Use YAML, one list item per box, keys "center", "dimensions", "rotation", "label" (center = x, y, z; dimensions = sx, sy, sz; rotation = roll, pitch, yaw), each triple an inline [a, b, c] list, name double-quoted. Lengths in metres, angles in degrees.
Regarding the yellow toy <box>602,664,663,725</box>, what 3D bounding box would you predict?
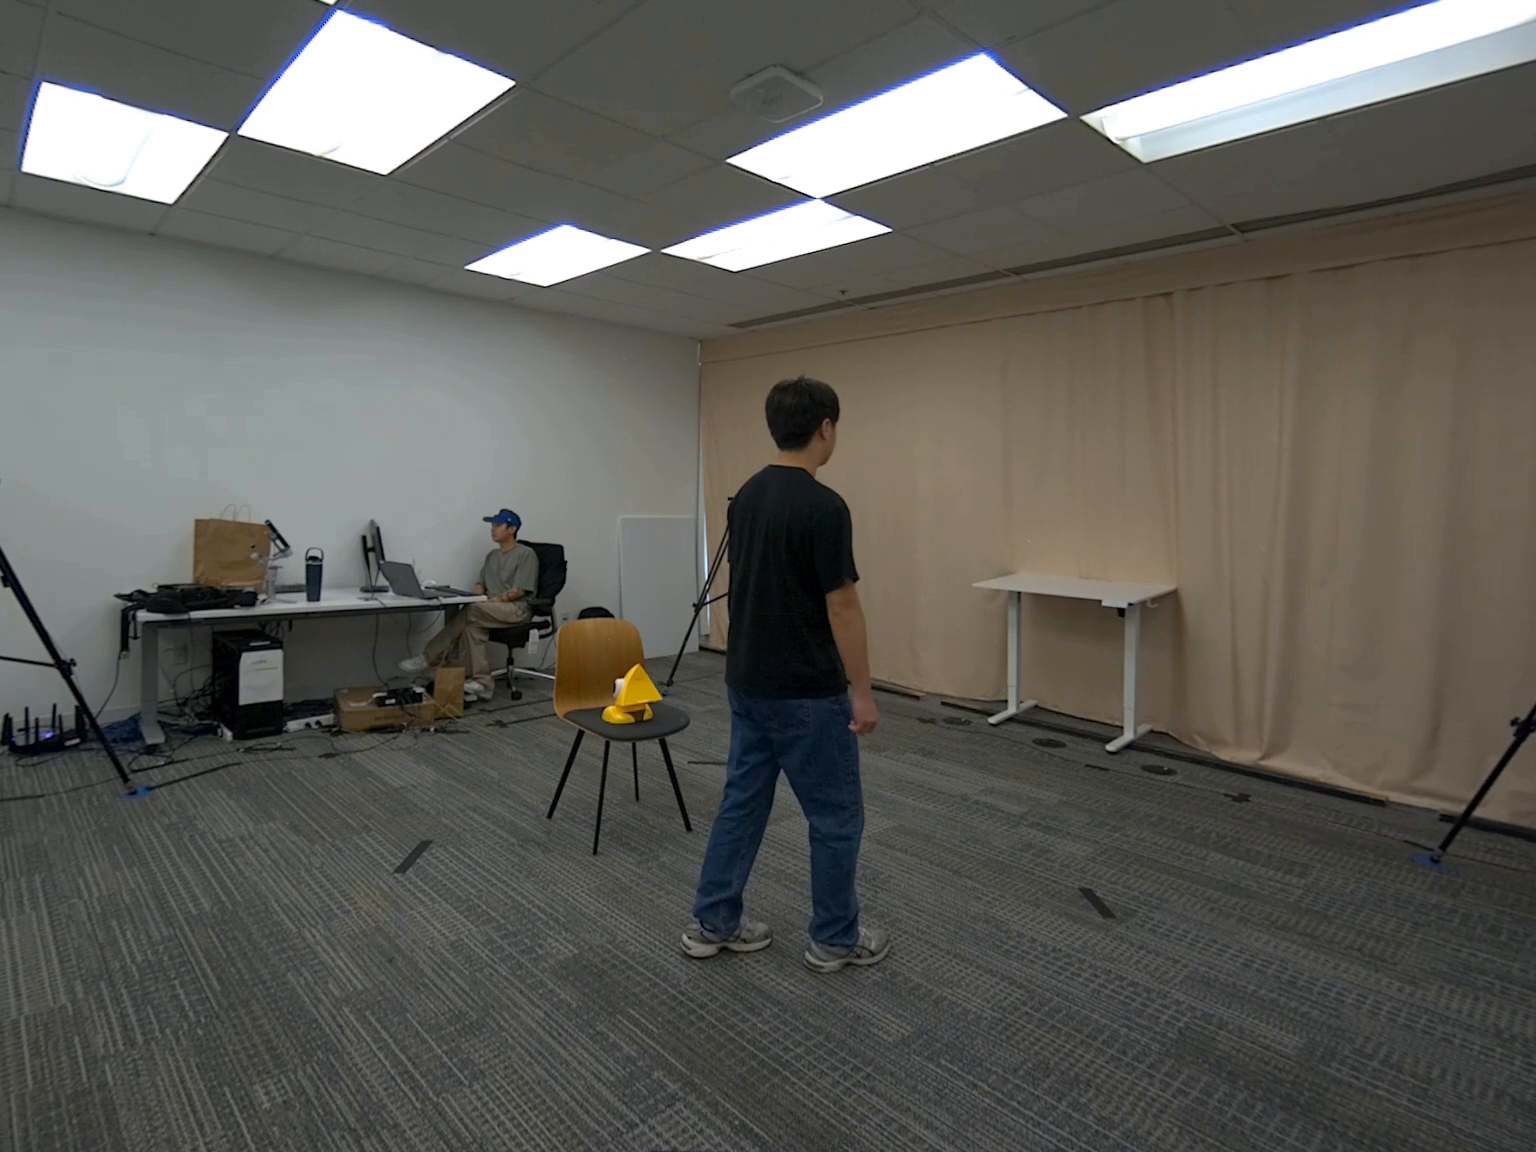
- center: [-0.581, 0.470, 3.460]
  dimensions: [0.198, 0.230, 0.200]
  rotation: [2, 2, 45]
  label: "yellow toy"
